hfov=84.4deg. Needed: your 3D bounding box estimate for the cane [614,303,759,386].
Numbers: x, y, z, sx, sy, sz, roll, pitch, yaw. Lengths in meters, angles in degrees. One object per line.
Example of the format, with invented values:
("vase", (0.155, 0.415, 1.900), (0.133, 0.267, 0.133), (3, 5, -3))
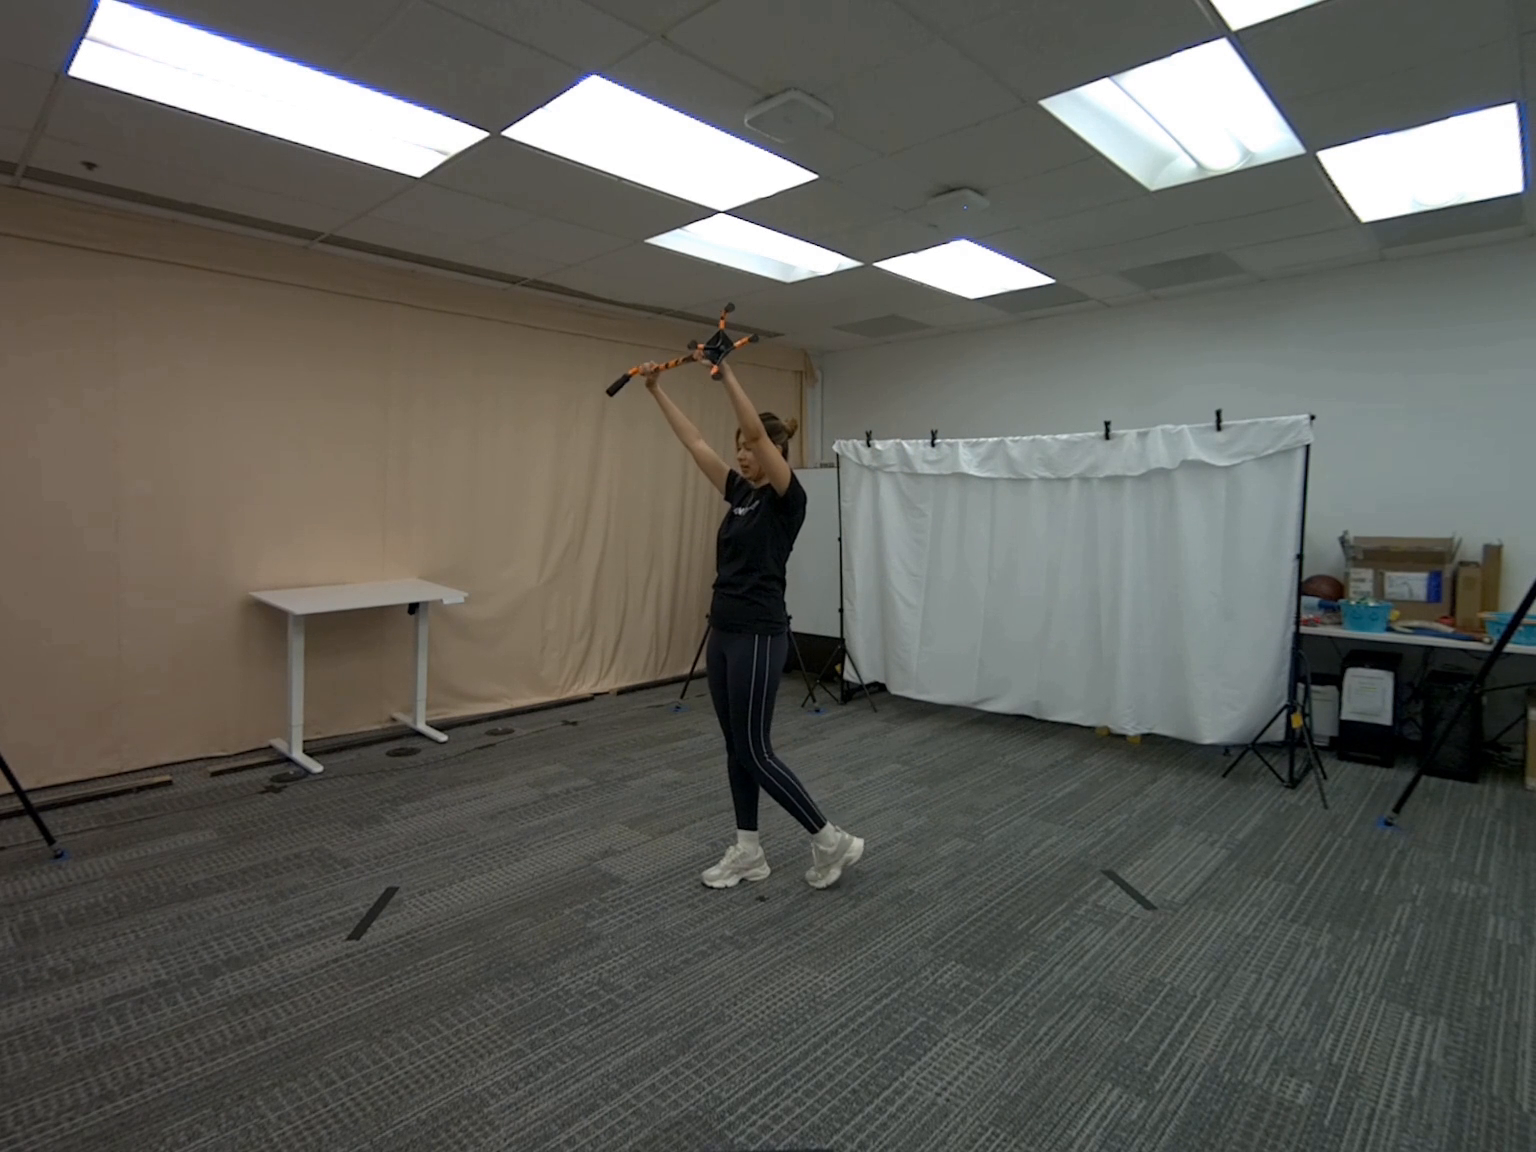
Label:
("cane", (-0.354, -0.760, 2.986), (0.148, 0.205, 0.934), (49, -18, -24))
